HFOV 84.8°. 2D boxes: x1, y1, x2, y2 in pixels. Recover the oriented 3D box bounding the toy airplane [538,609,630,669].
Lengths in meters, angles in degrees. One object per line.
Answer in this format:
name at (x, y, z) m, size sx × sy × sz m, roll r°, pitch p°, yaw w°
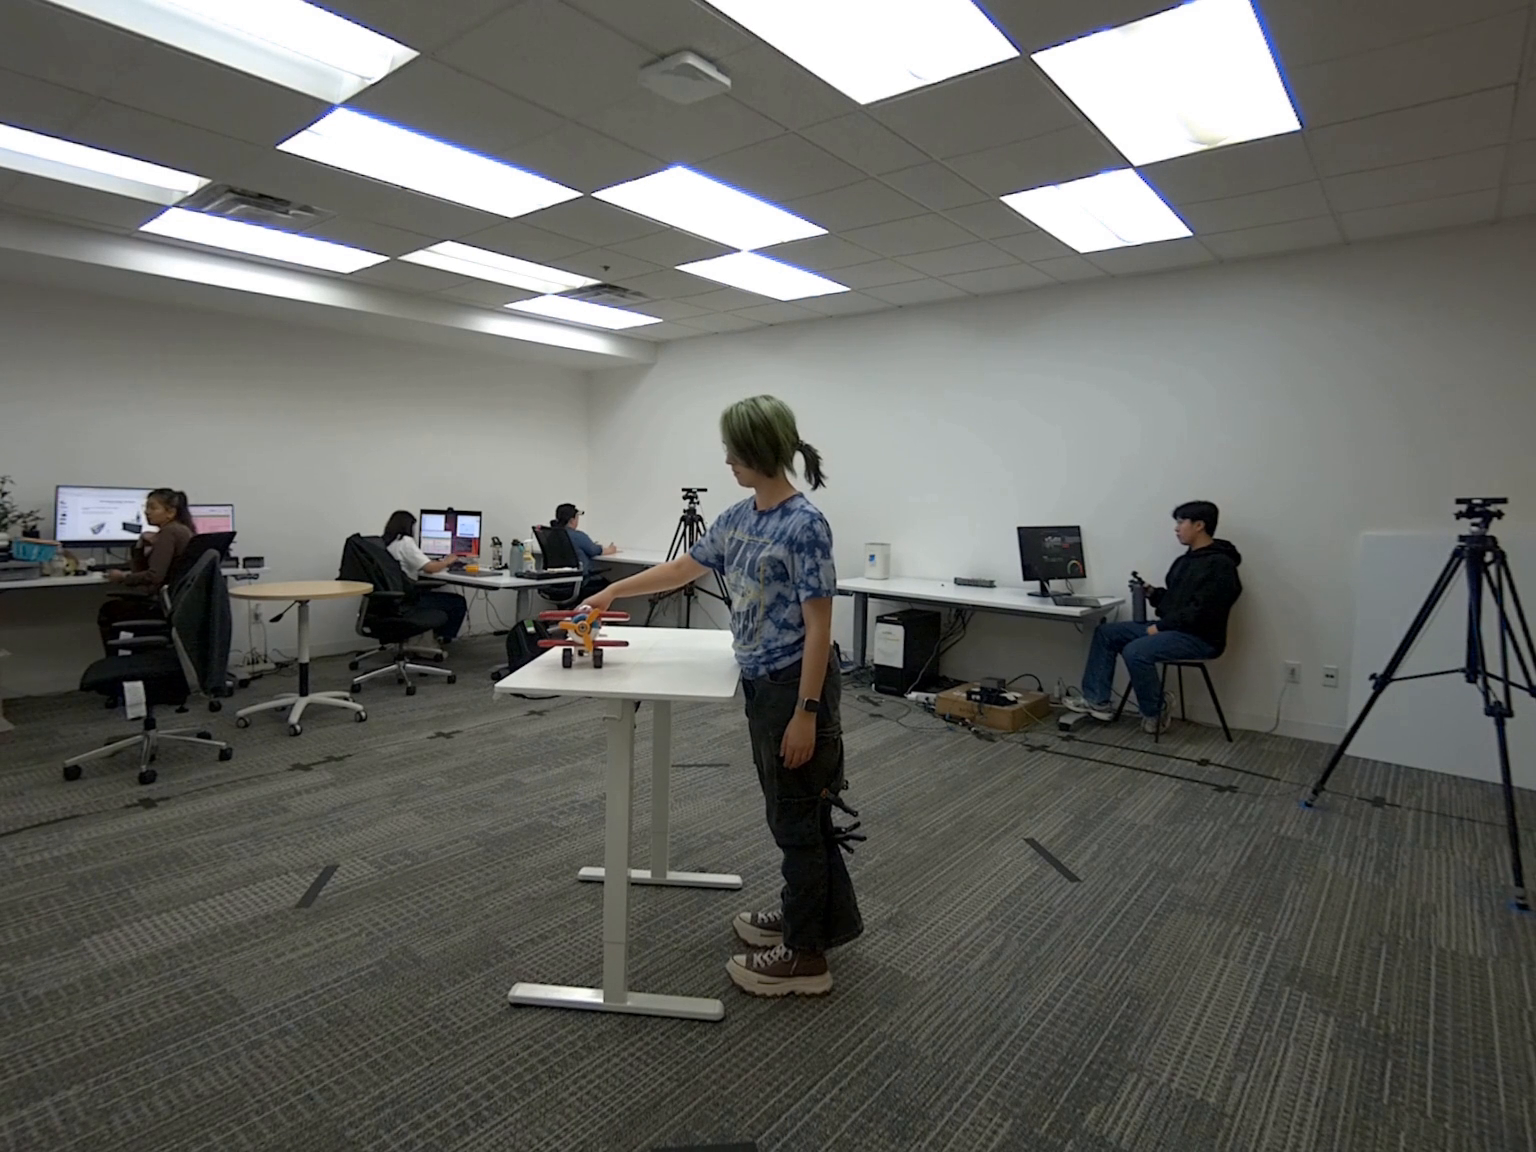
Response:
toy airplane at (-0.557, 0.169, 2.451) m, size 0.244 × 0.155 × 0.268 m, roll -3°, pitch 8°, yaw -33°
